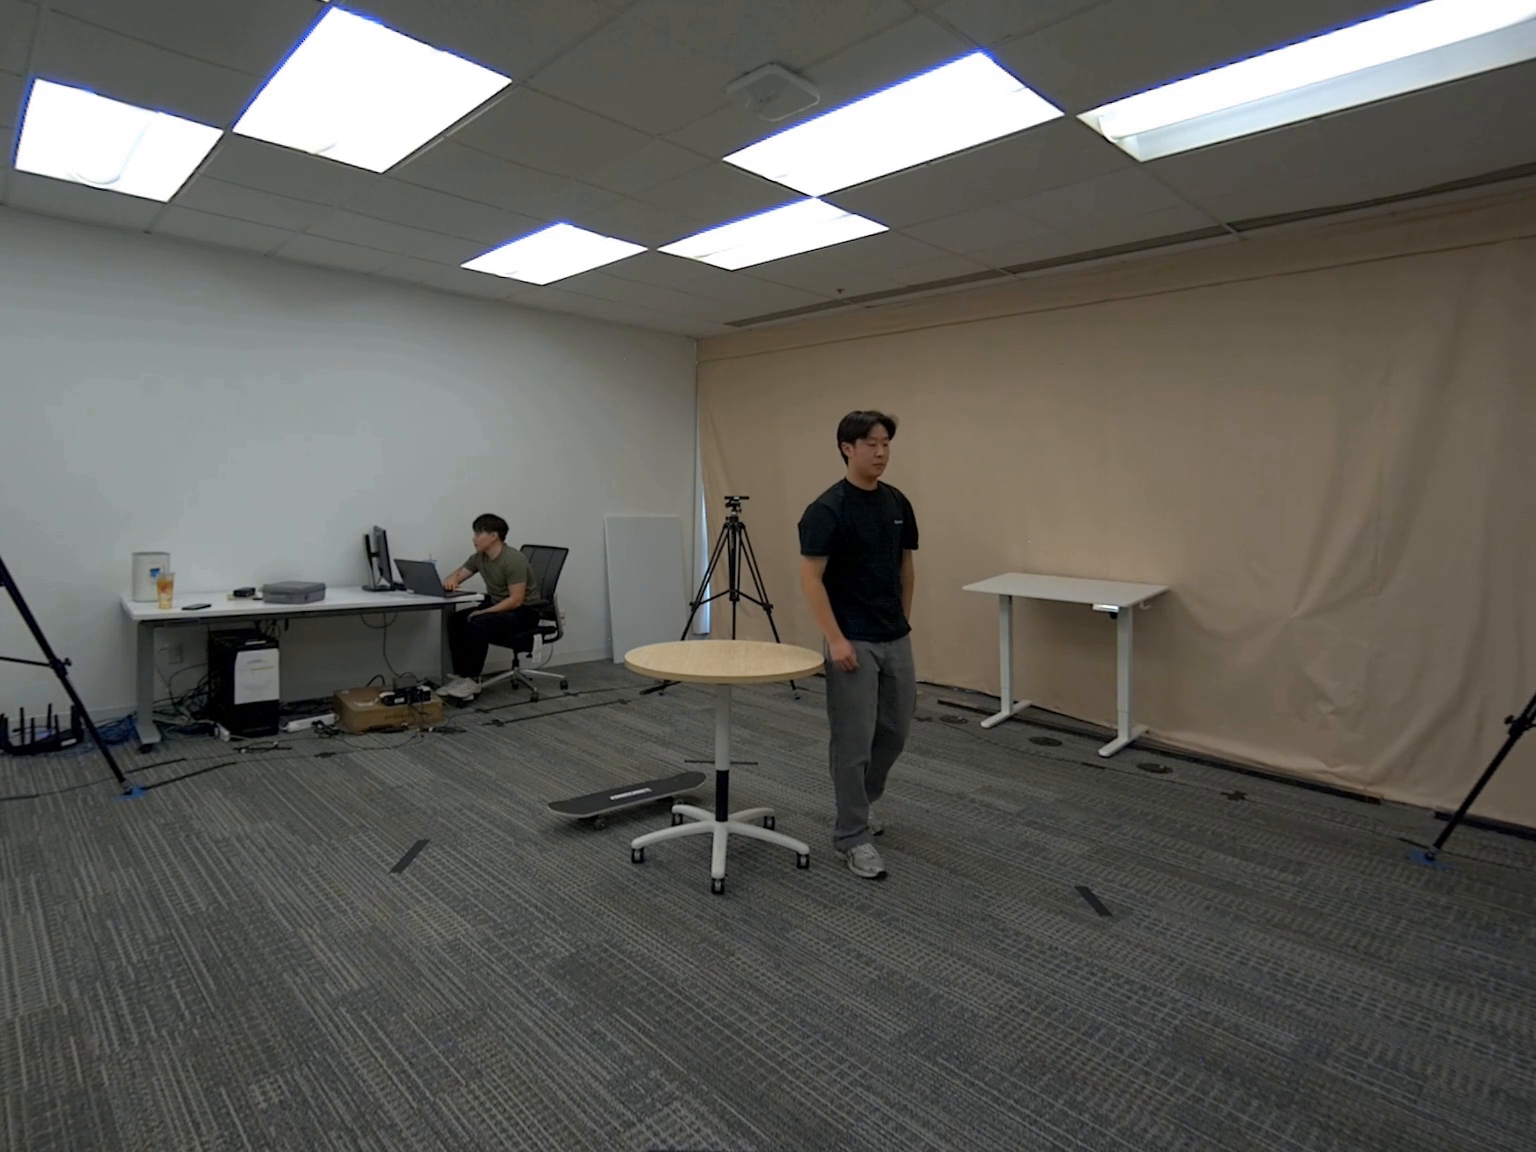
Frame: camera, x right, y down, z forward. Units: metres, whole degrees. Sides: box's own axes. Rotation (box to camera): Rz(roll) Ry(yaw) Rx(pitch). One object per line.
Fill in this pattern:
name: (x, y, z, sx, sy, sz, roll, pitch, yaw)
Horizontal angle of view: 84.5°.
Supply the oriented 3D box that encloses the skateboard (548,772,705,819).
skateboard: (-0.605, 0.982, 3.683, 0.768, 0.110, 0.198, -3, 7, -40)
